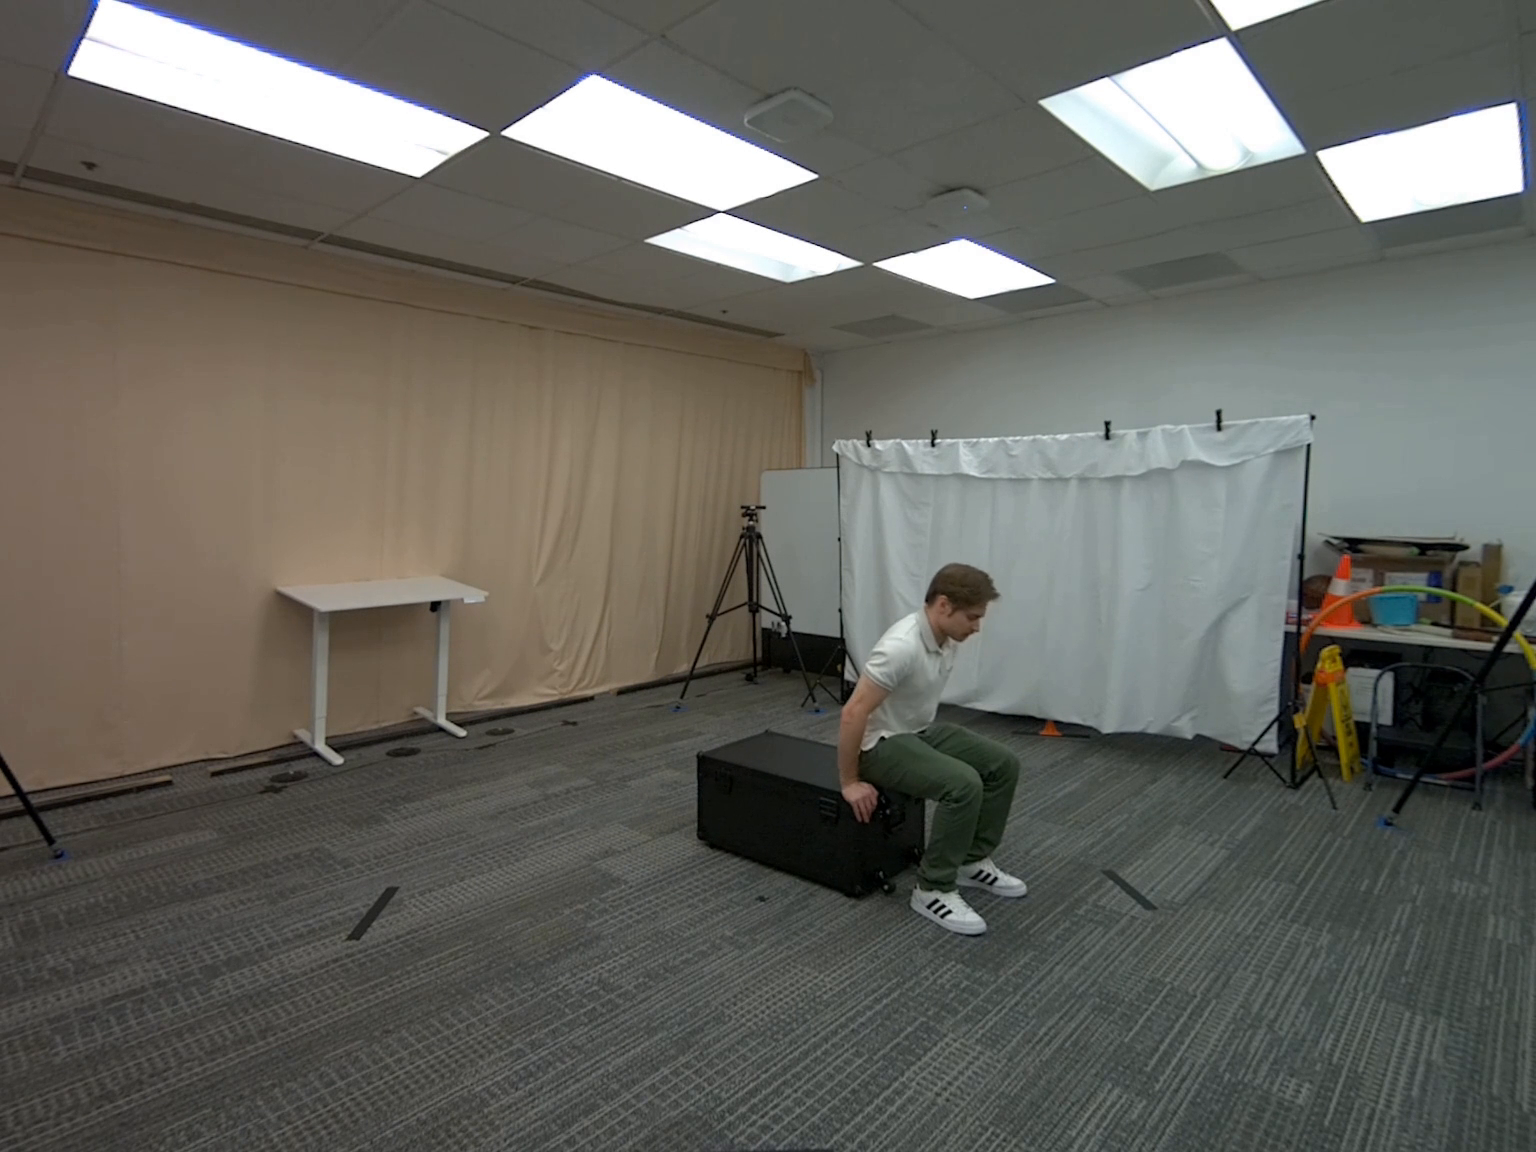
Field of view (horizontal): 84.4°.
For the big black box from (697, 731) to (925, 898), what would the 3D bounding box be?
[{"bbox_3d":[0.192,0.916,3.345,0.897,0.384,0.507,4,5,39],"label":"big black box"}]
